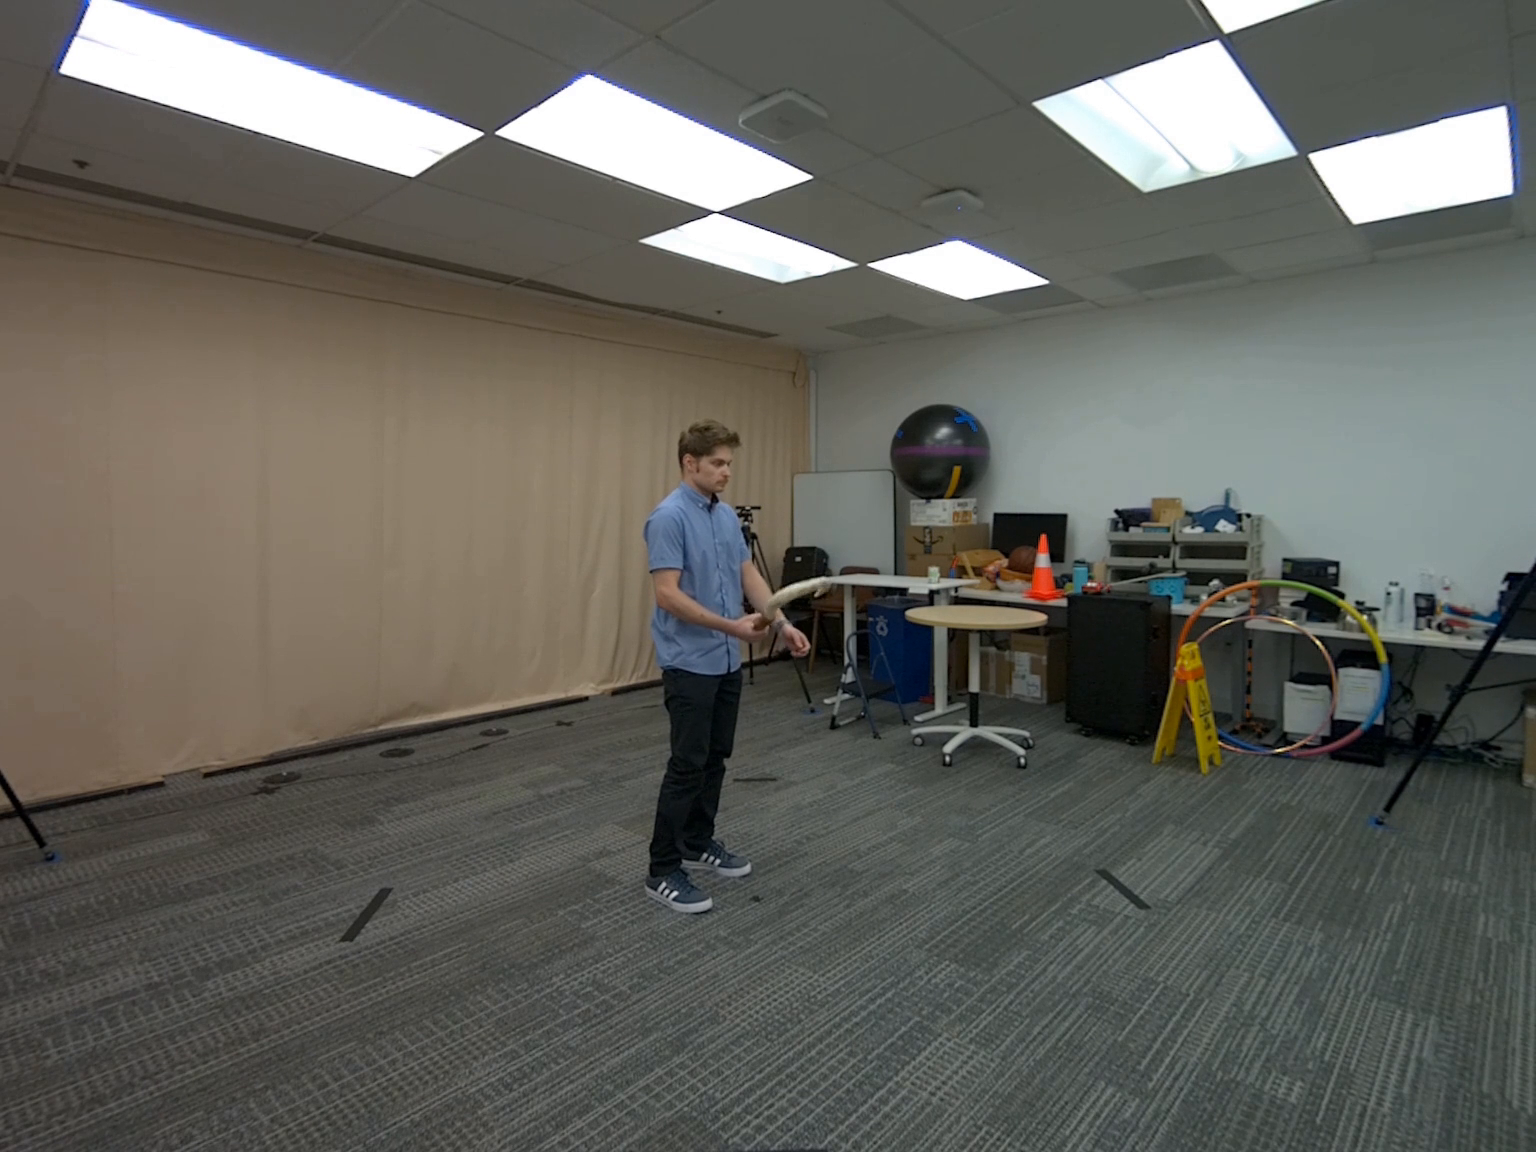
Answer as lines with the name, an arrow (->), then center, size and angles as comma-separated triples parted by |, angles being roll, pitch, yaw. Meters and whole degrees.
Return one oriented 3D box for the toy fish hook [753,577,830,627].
toy fish hook -> 0.060, 0.112, 2.762 | 0.221, 0.049, 0.508 | -12, -14, -19
